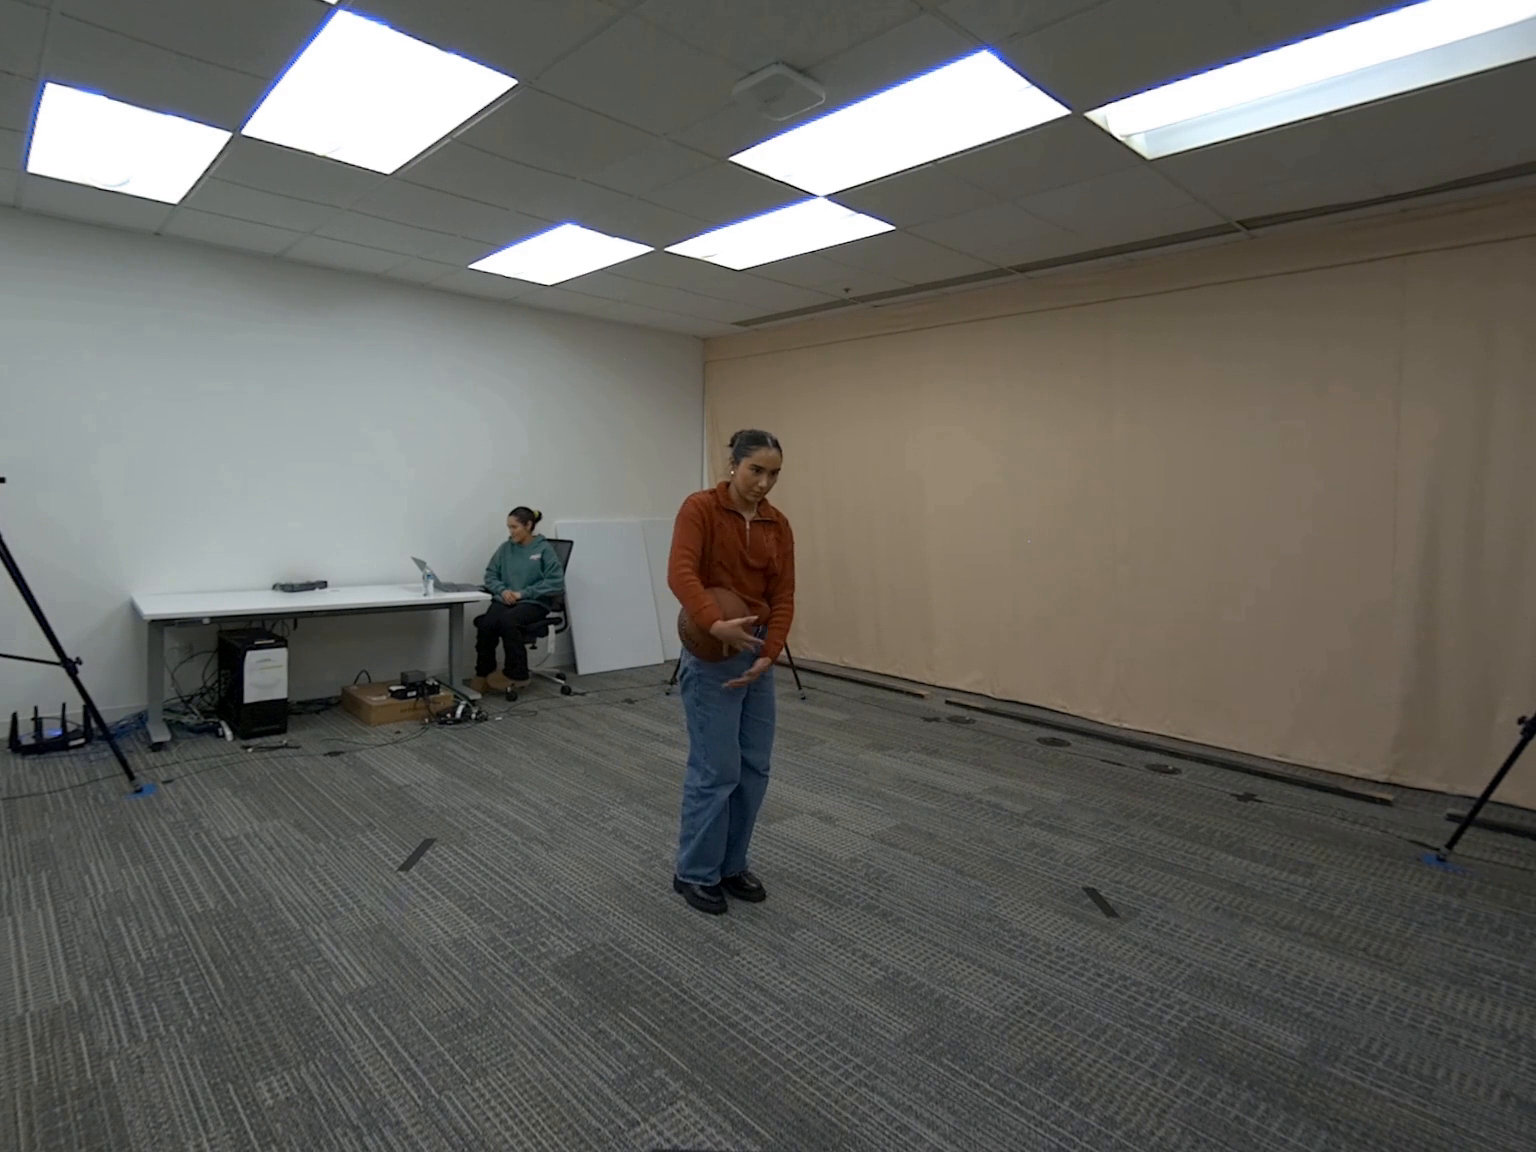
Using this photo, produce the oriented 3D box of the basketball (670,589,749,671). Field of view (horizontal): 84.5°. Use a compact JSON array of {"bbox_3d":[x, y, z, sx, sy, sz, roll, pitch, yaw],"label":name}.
[{"bbox_3d":[-0.180,0.156,2.664,0.236,0.235,0.237,1,4,-1],"label":"basketball"}]
